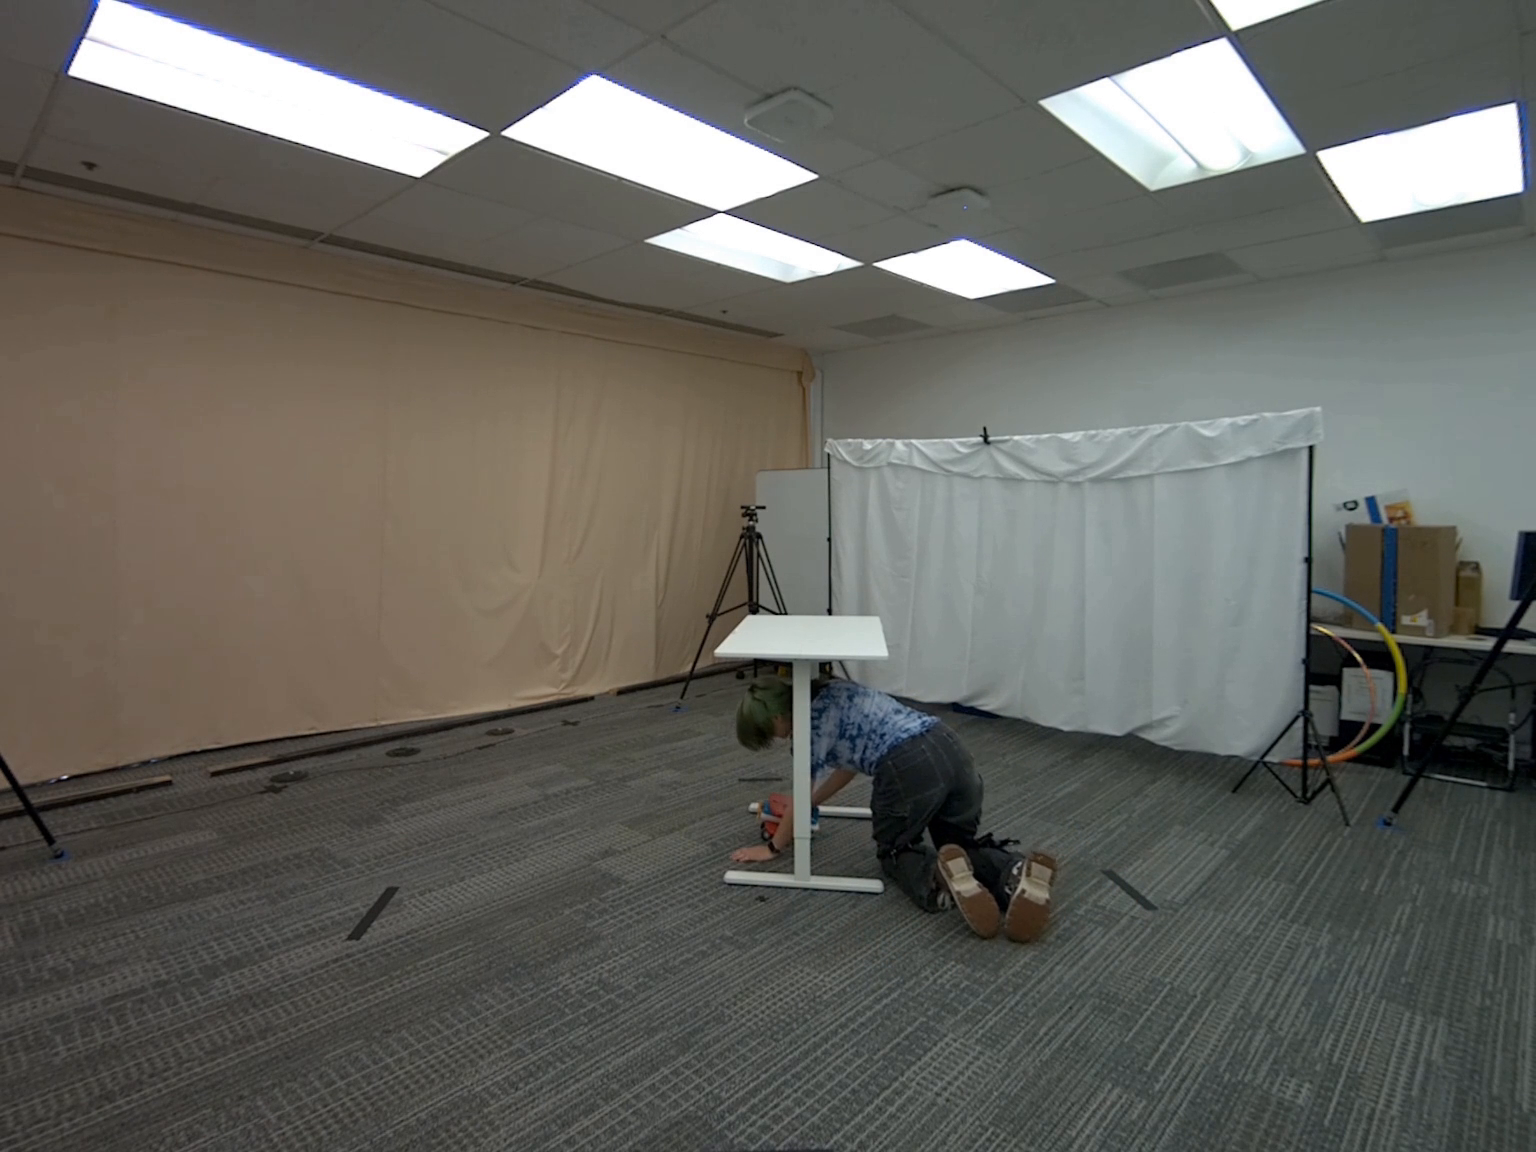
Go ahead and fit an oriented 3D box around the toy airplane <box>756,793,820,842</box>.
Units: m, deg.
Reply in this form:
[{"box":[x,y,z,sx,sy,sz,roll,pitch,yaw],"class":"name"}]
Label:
[{"box":[0.083,1.027,3.557,0.253,0.156,0.258,-2,4,-26],"class":"toy airplane"}]
